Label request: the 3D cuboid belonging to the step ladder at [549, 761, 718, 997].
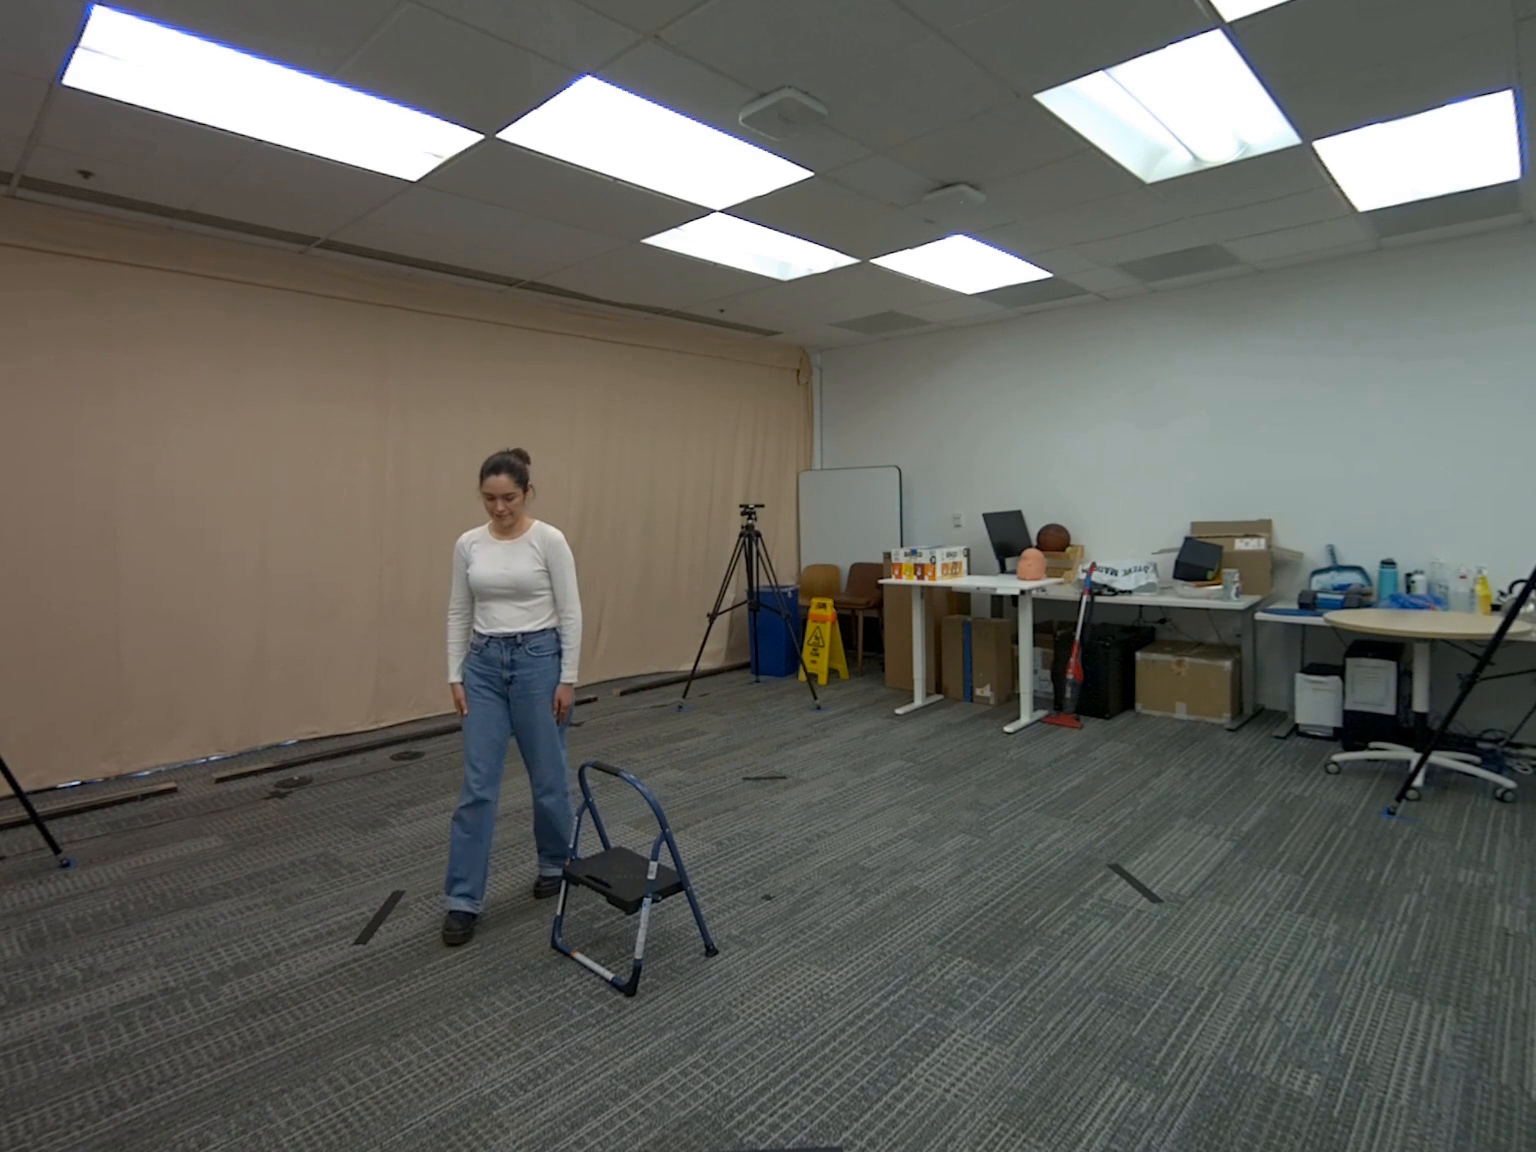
[{"bbox_3d":[-0.429,0.877,2.634,0.445,0.605,0.339,2,4,43],"label":"step ladder"}]
